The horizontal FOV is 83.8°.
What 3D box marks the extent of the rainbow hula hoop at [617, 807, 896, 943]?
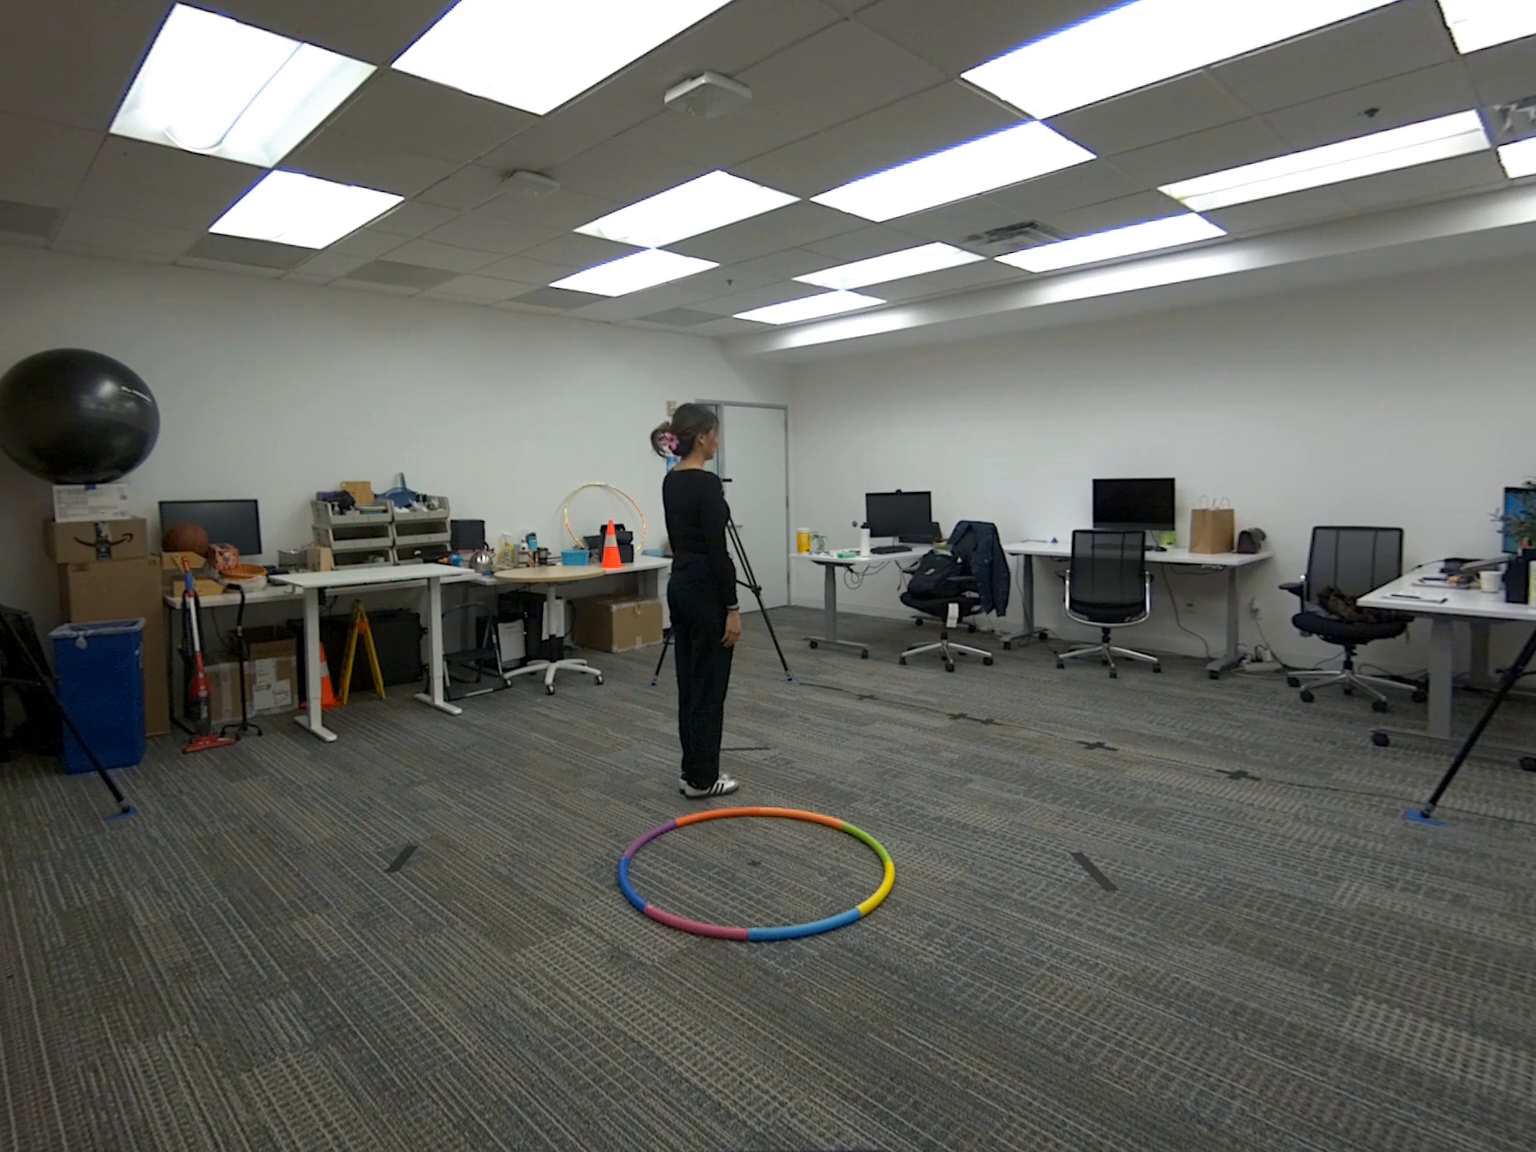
[{"bbox_3d":[-0.043,1.018,3.070,0.978,0.035,0.984,-1,7,-2],"label":"rainbow hula hoop"}]
